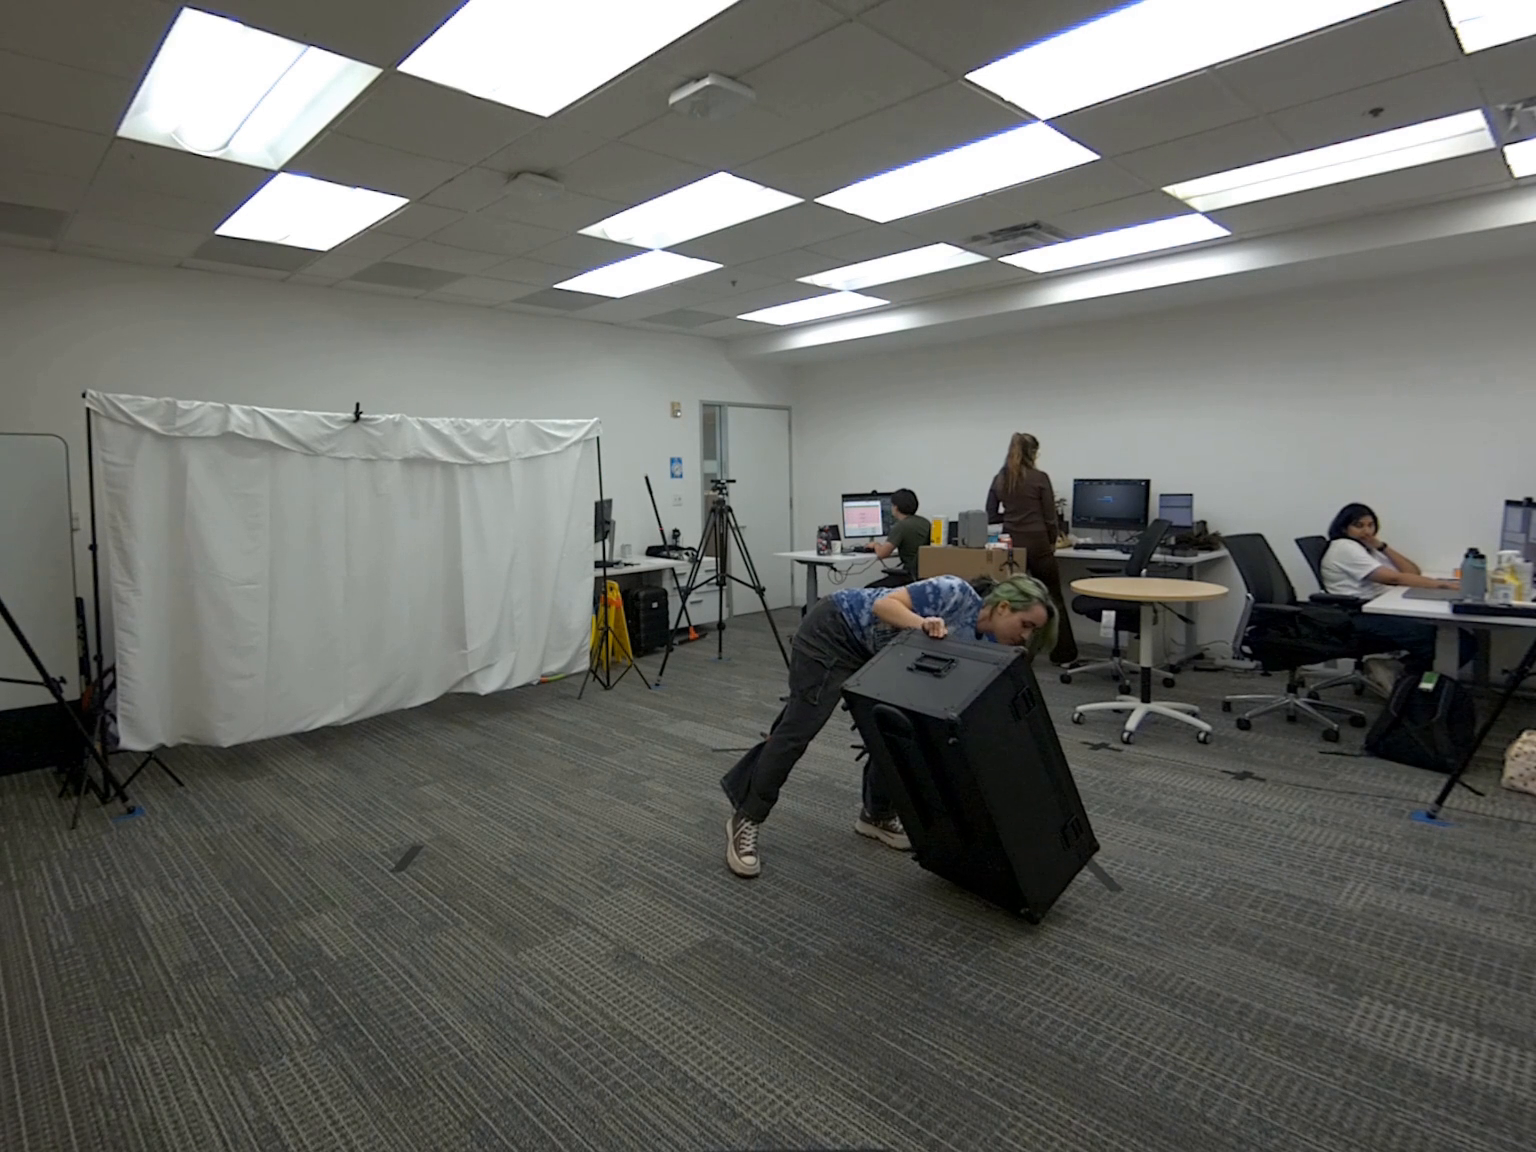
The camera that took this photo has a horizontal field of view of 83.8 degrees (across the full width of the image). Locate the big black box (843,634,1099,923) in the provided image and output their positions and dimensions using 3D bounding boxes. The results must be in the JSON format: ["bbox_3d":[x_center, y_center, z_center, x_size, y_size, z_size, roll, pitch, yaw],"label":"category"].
[{"bbox_3d":[0.631,0.602,2.719,0.393,0.844,0.536,-34,19,-26],"label":"big black box"}]
